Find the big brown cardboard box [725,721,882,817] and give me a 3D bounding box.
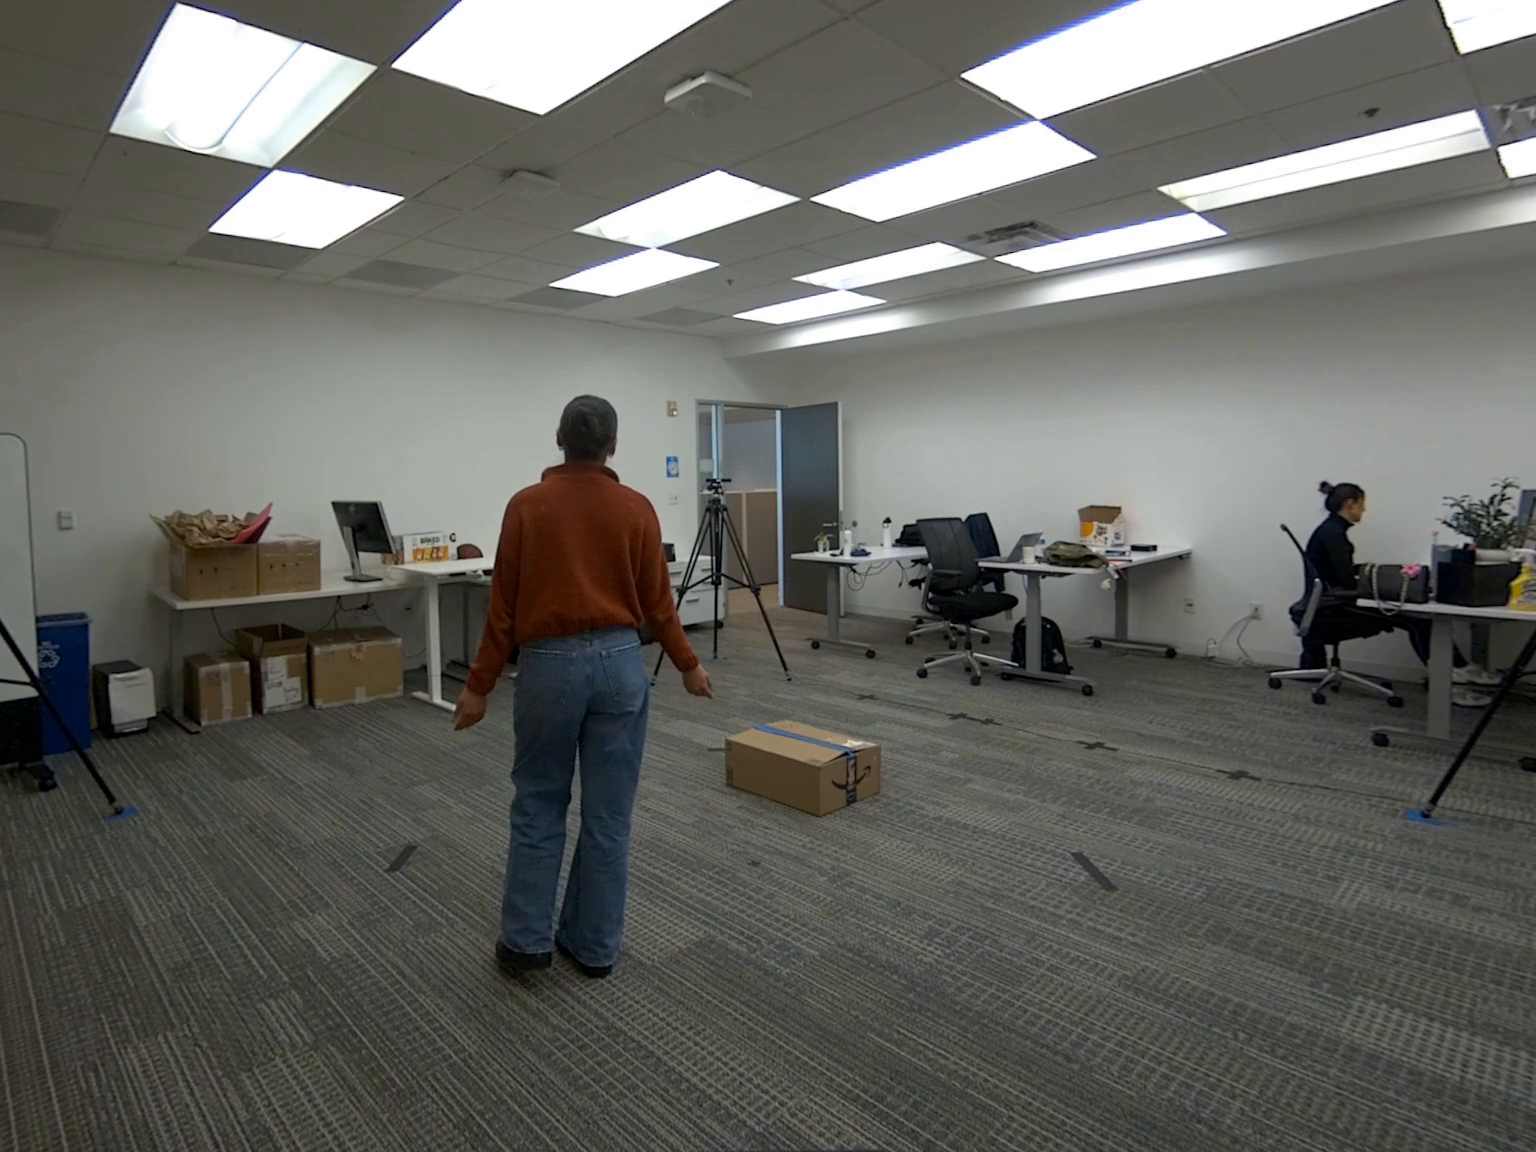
[{"bbox_3d":[0.155,0.847,3.842,0.407,0.232,0.607,-7,7,-45],"label":"big brown cardboard box"}]
